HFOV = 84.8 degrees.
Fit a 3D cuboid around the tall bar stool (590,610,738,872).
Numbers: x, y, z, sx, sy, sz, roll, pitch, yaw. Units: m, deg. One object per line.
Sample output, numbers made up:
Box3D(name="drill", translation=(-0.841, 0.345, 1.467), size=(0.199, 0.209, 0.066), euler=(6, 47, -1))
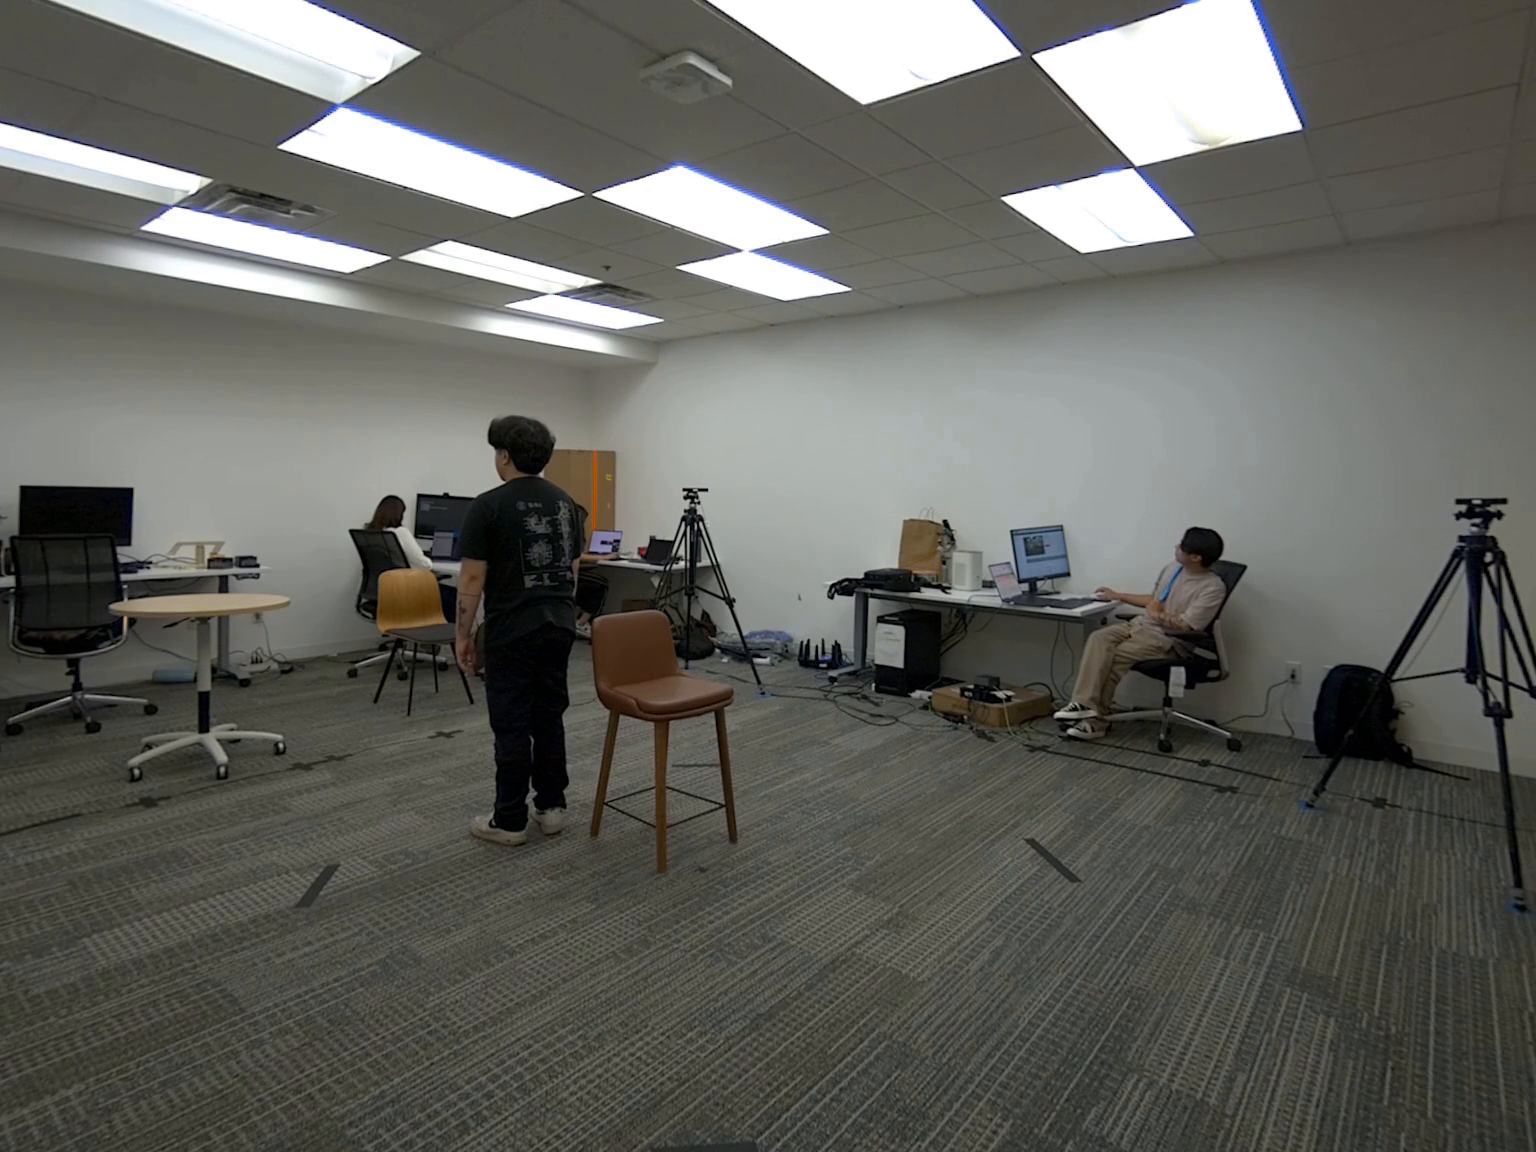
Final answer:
Box3D(name="tall bar stool", translation=(-0.431, 0.604, 3.354), size=(0.483, 0.889, 0.442), euler=(1, 2, 43))
